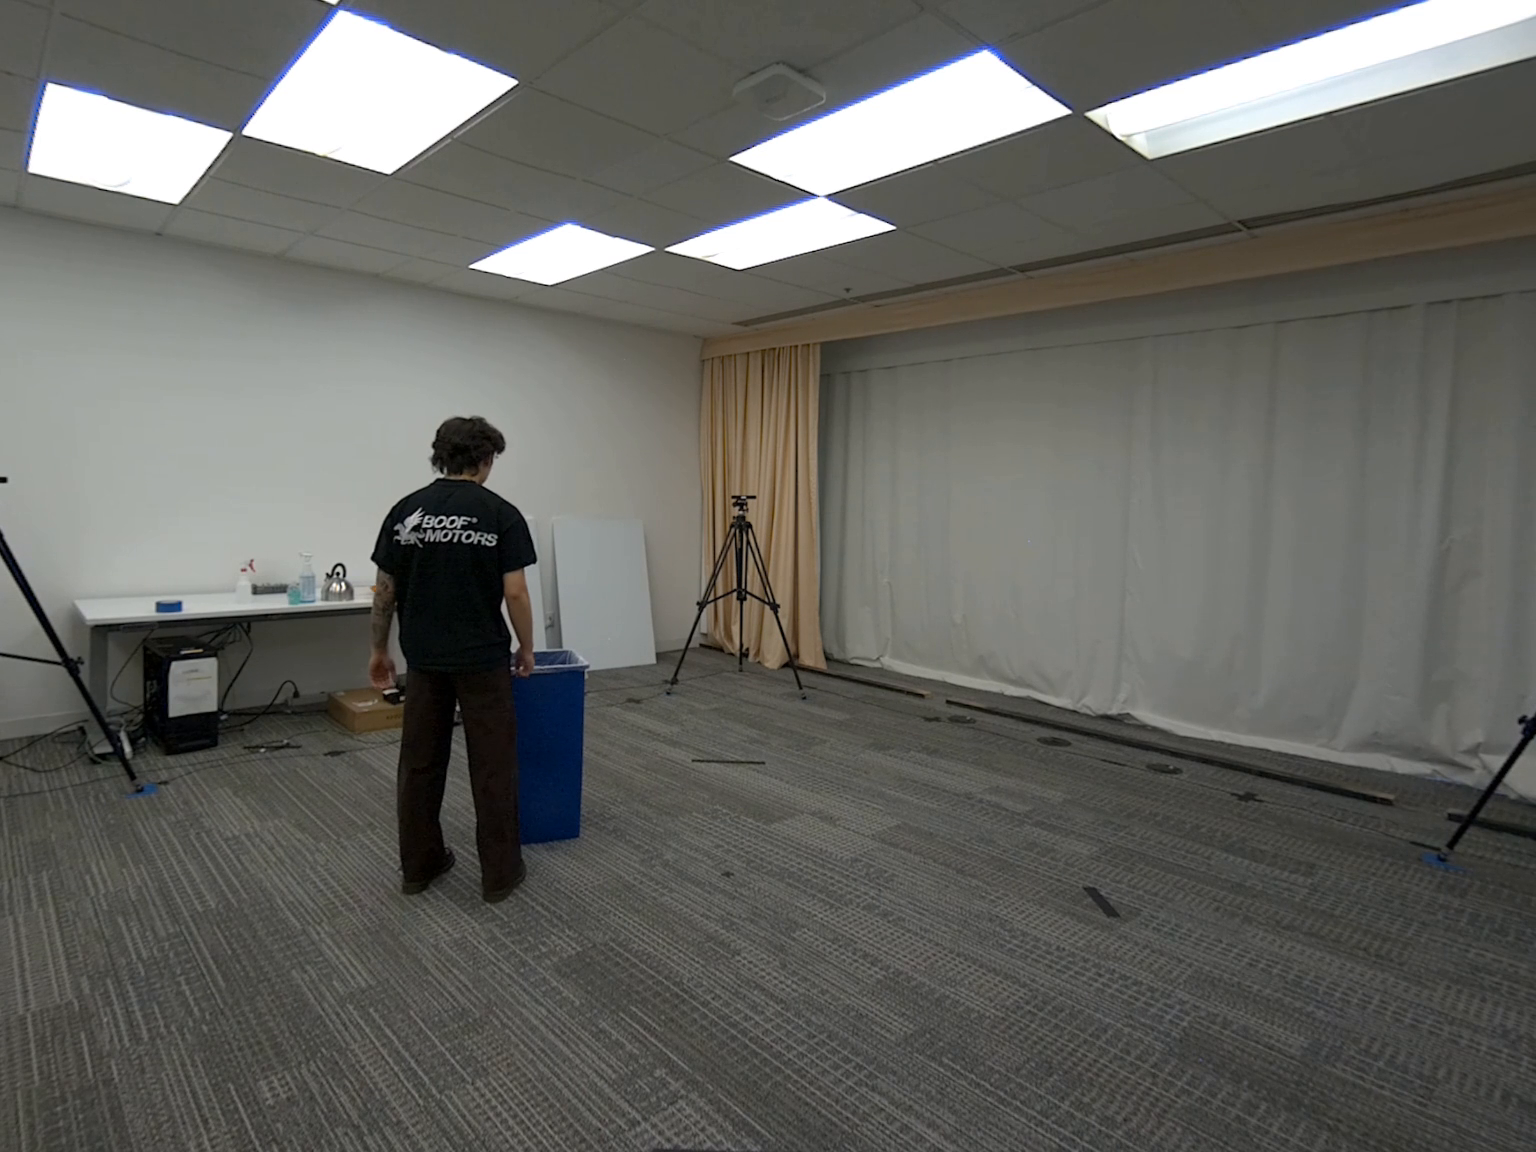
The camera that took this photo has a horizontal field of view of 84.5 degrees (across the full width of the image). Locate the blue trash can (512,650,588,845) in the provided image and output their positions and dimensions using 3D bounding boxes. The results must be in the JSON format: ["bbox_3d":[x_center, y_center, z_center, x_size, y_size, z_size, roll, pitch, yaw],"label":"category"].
[{"bbox_3d":[-0.961,0.693,3.467,0.367,0.712,0.385,0,3,-24],"label":"blue trash can"}]
